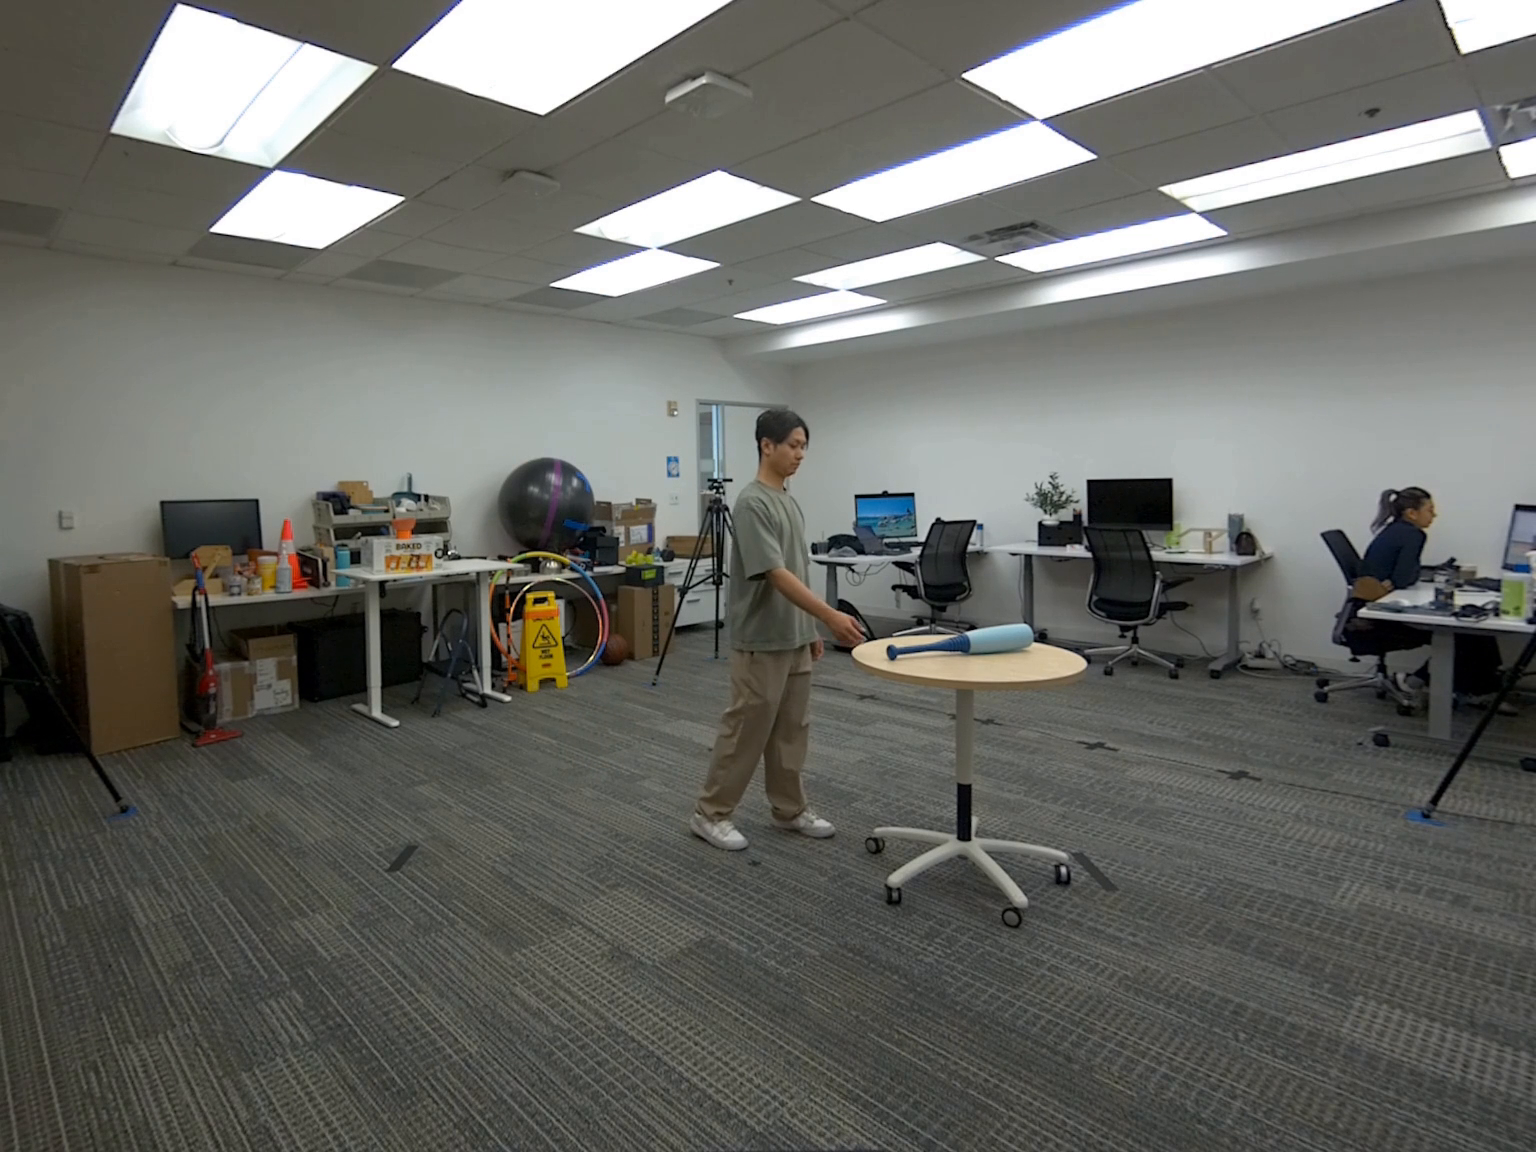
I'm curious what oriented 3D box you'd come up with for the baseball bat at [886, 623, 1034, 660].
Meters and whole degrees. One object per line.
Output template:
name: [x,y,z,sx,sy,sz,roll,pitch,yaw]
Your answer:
baseball bat: [0.666,0.235,2.921,0.535,0.088,0.091,-5,6,-16]
